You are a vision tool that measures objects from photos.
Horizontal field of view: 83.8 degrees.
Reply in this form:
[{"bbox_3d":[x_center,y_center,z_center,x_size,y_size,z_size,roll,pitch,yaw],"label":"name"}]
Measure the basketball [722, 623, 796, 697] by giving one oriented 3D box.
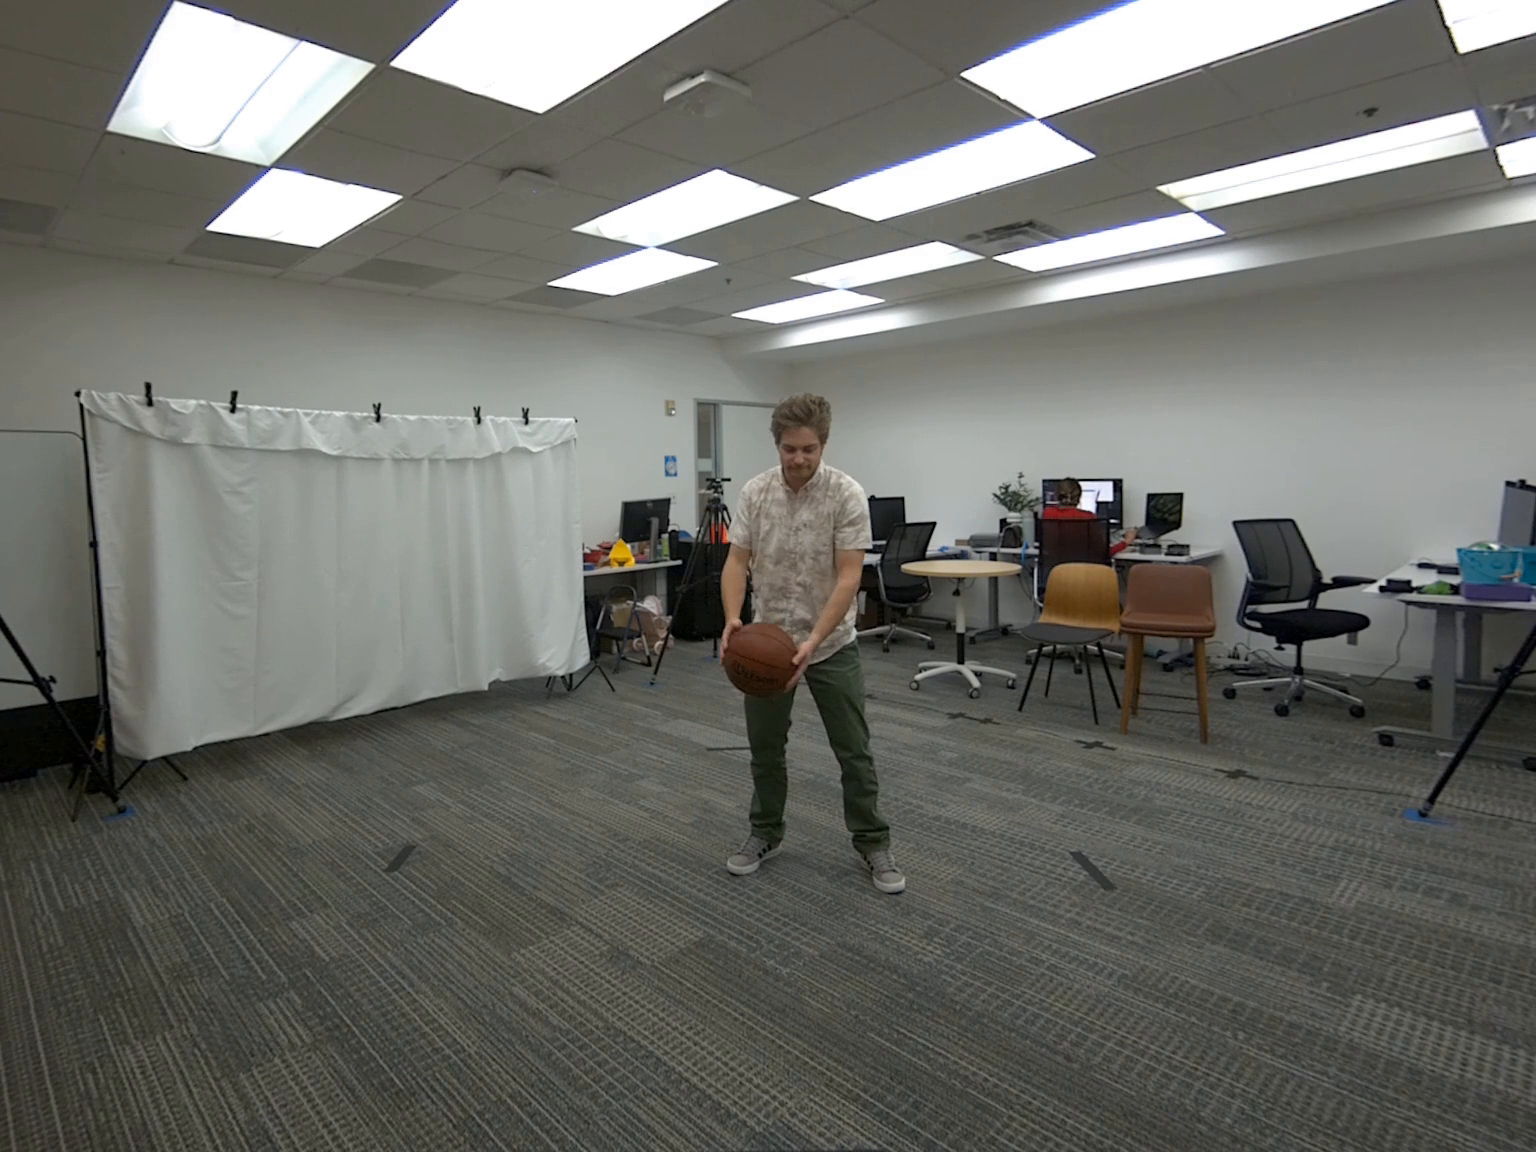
[{"bbox_3d":[-0.030,0.256,2.752,0.236,0.235,0.237,-1,5,-2],"label":"basketball"}]
